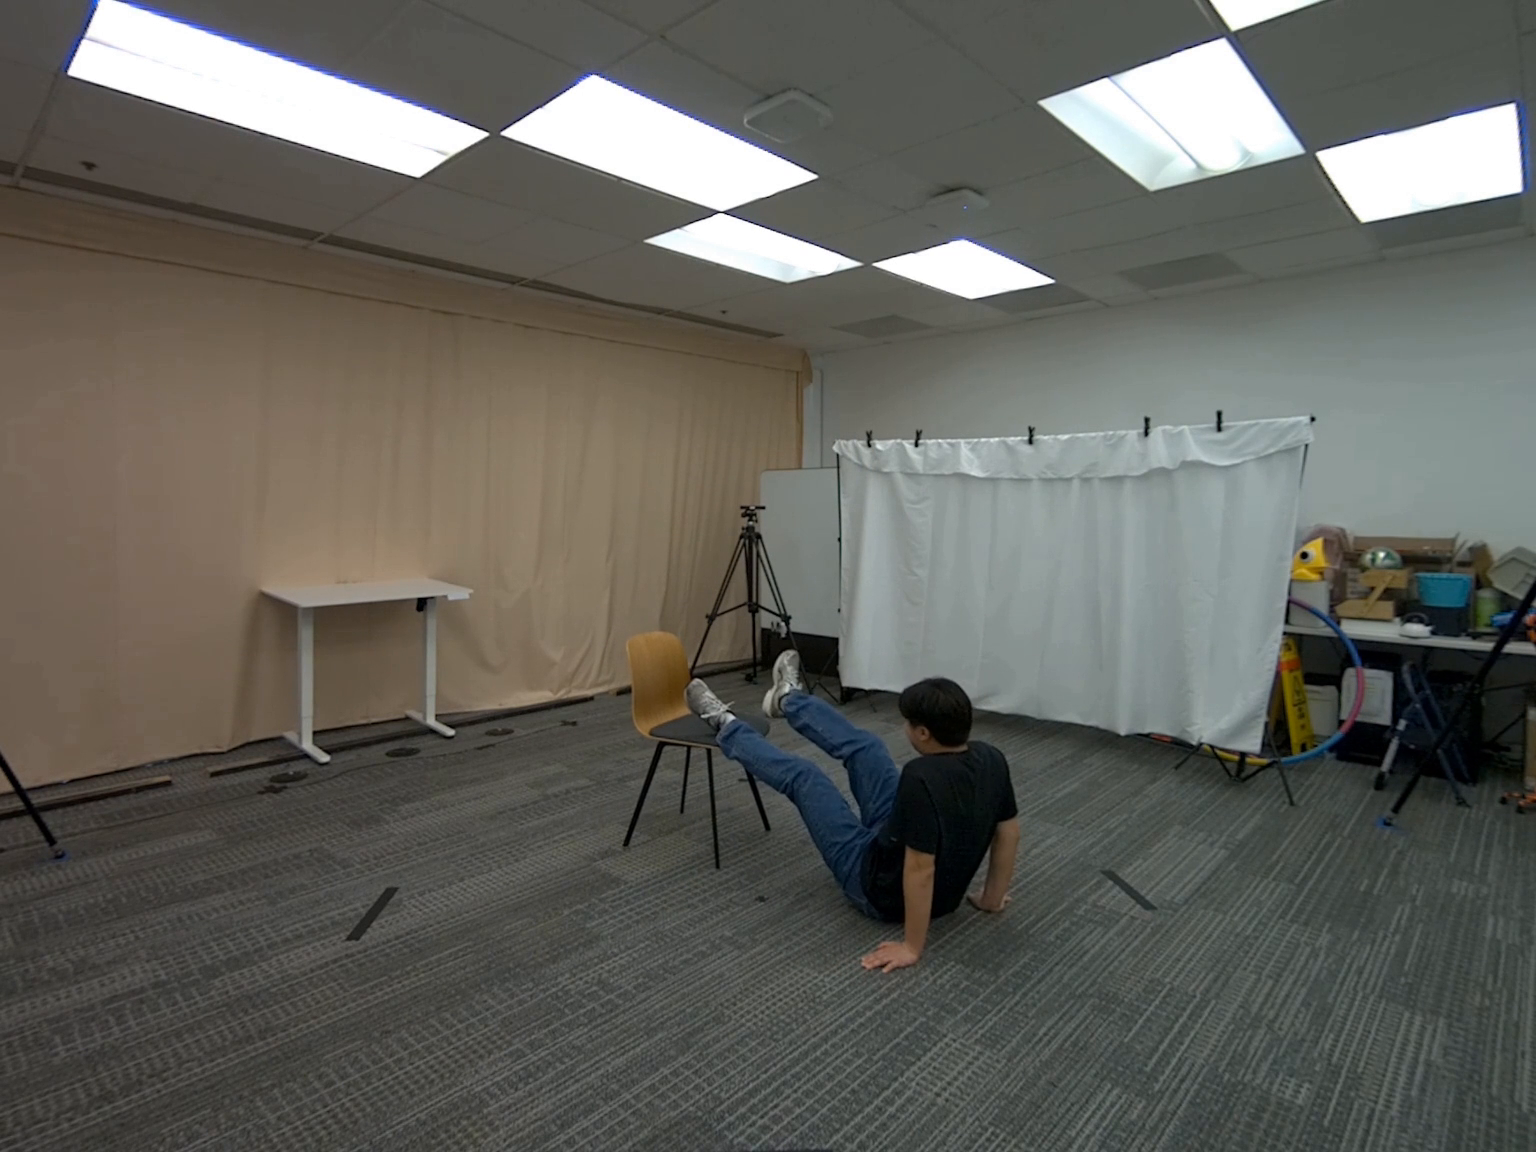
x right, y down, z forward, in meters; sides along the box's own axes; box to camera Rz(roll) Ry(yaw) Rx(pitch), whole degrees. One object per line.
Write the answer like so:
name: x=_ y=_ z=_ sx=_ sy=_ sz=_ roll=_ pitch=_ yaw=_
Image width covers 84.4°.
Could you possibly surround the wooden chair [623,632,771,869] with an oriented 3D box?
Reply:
wooden chair: x=-0.284 y=0.675 z=3.496 sx=0.537 sy=0.877 sz=0.466 roll=-3 pitch=1 yaw=29
